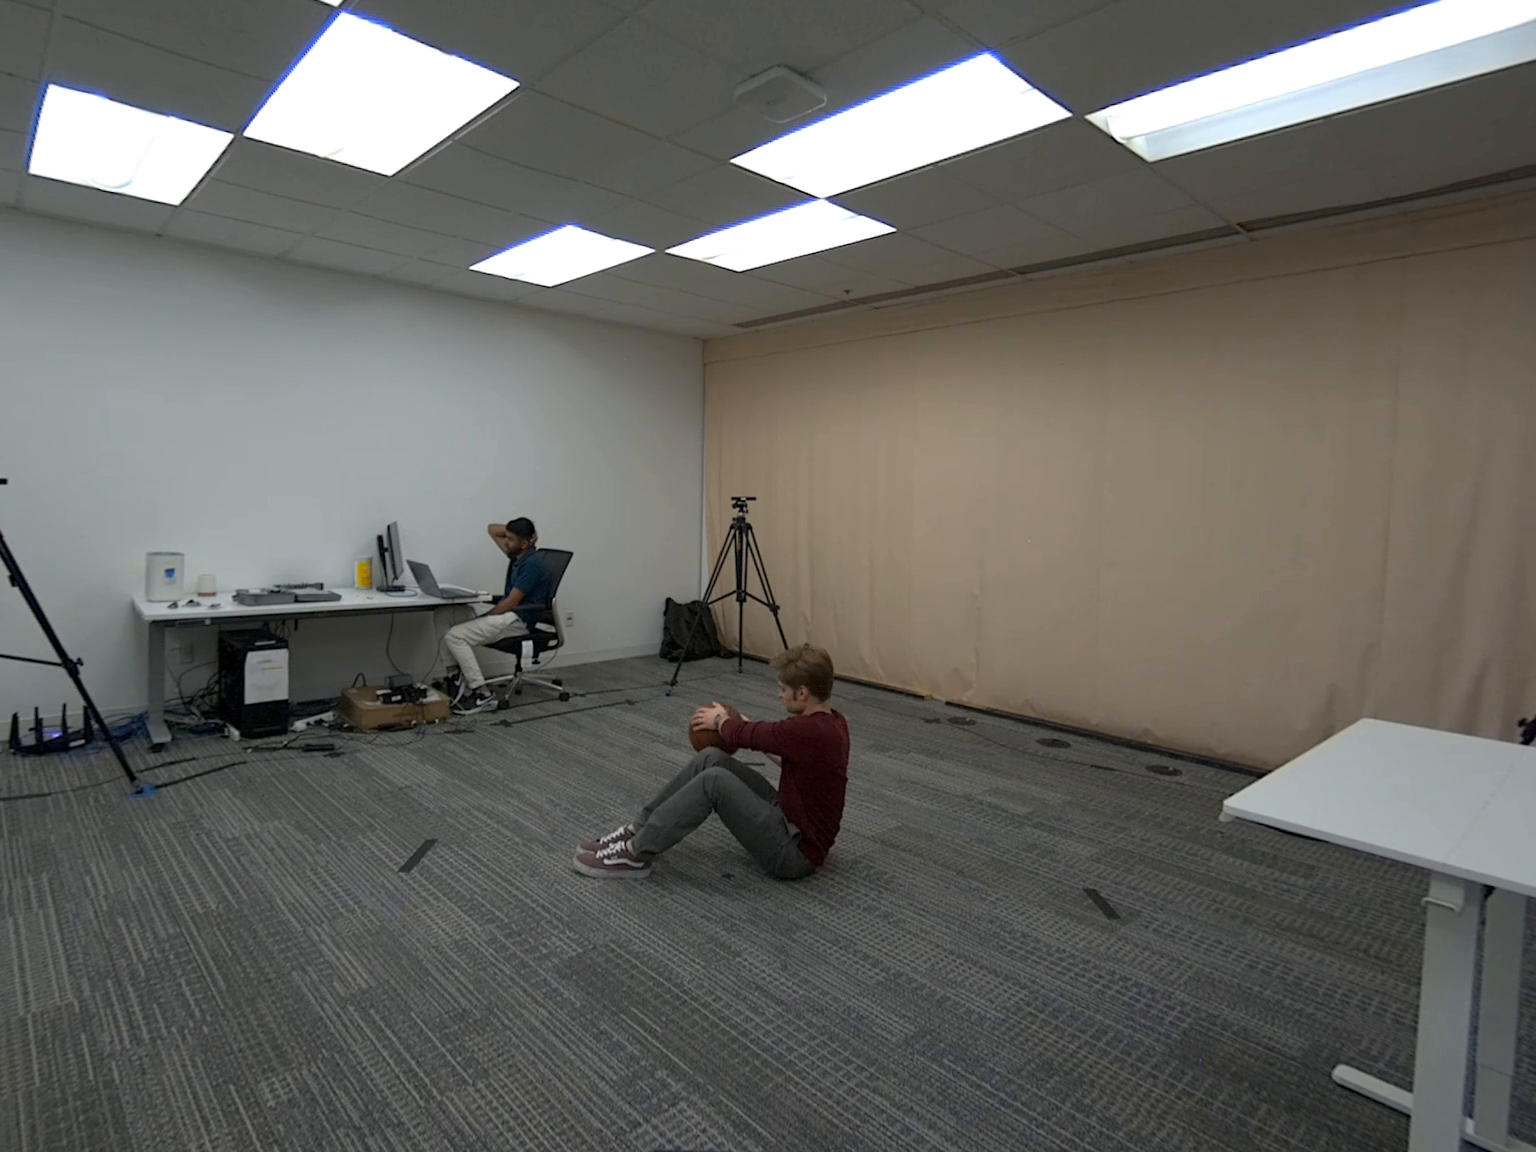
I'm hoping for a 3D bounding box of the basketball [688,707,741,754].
[{"bbox_3d":[-0.221,0.658,3.539,0.236,0.235,0.237,1,4,-1],"label":"basketball"}]
